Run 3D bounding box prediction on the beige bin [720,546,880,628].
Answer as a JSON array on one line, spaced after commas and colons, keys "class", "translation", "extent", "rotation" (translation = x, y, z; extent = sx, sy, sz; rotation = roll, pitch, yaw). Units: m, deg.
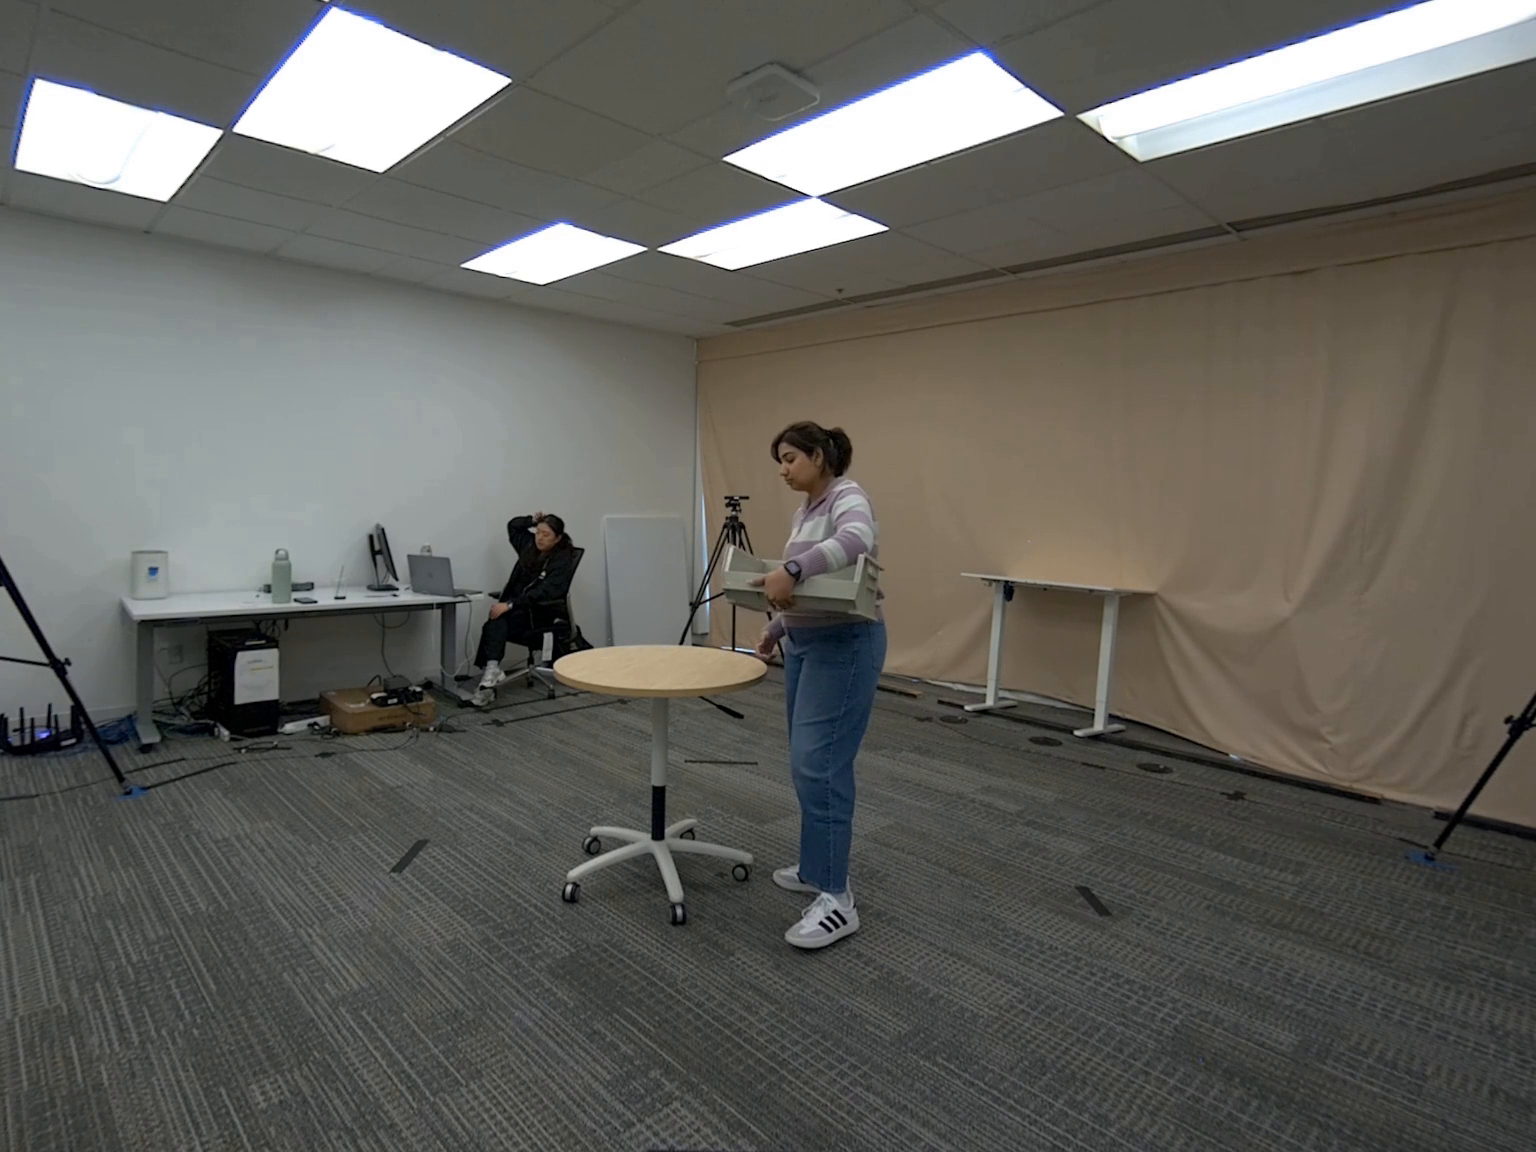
[{"class": "beige bin", "translation": [0.109, 0.026, 2.605], "extent": [0.429, 0.190, 0.369], "rotation": [5, -7, 19]}]
